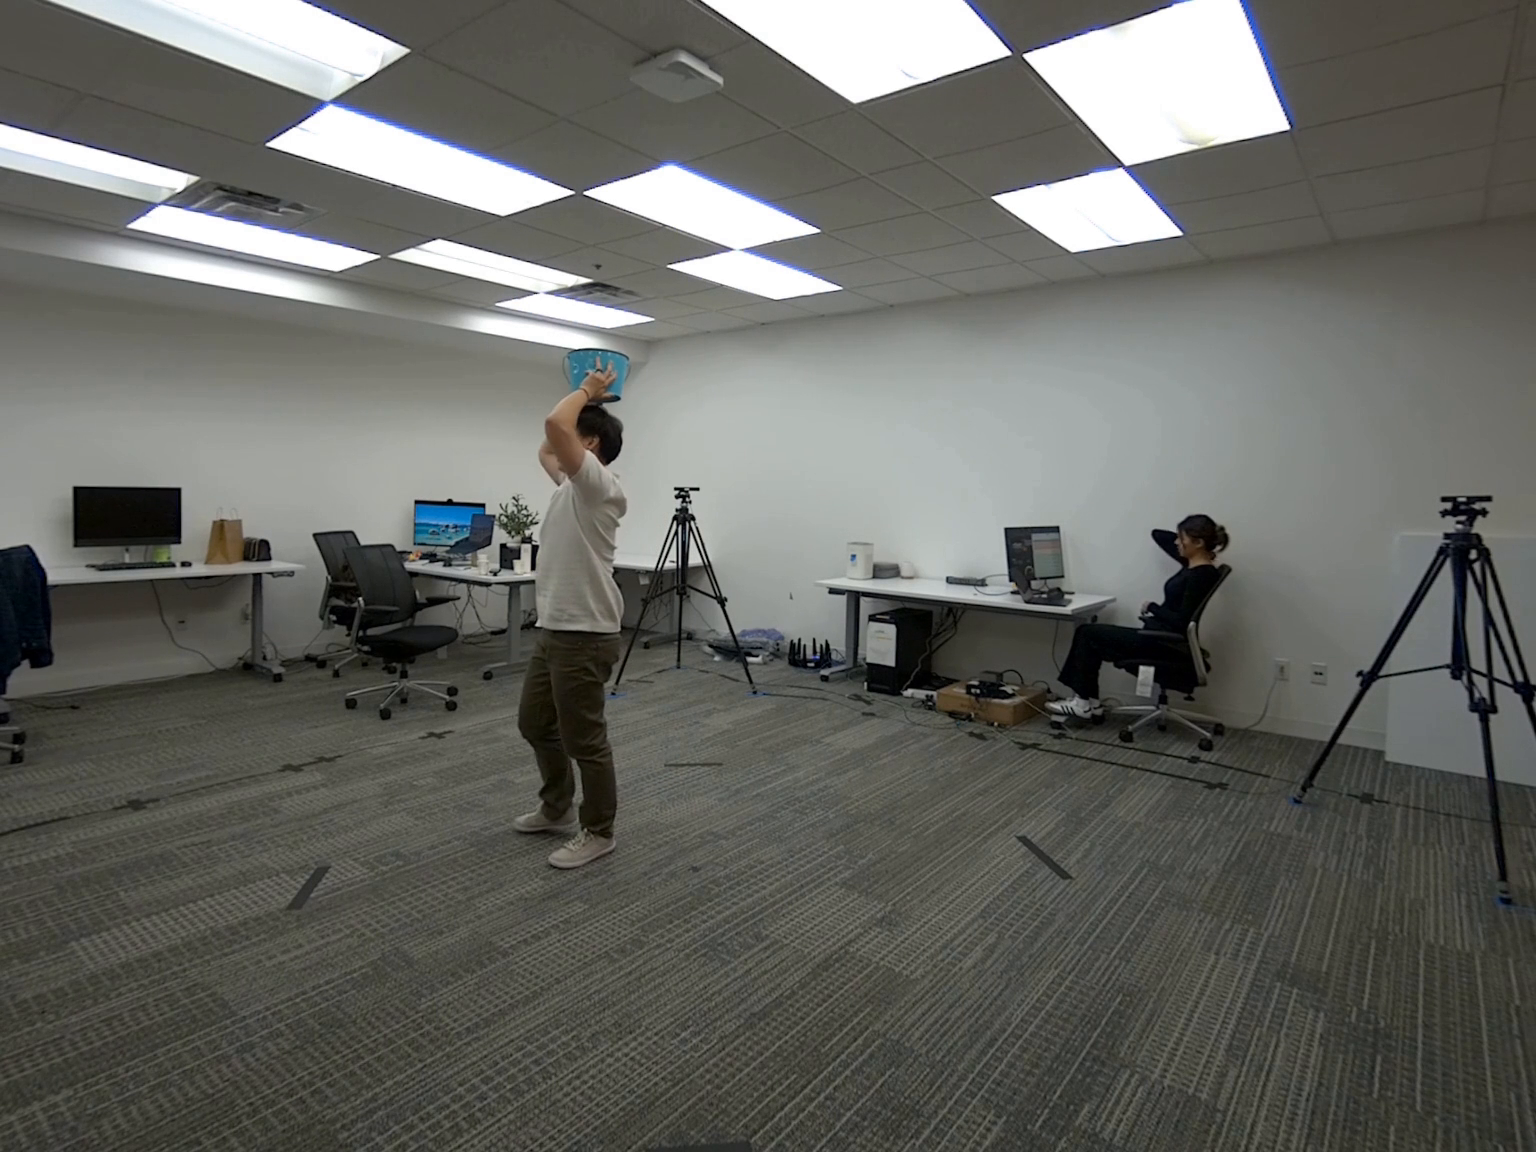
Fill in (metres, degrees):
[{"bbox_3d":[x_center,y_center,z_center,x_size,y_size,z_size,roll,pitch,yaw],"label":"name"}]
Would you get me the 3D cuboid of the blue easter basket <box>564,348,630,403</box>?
[{"bbox_3d":[-0.650,-0.737,3.137,0.243,0.156,0.243,1,-2,-2],"label":"blue easter basket"}]
